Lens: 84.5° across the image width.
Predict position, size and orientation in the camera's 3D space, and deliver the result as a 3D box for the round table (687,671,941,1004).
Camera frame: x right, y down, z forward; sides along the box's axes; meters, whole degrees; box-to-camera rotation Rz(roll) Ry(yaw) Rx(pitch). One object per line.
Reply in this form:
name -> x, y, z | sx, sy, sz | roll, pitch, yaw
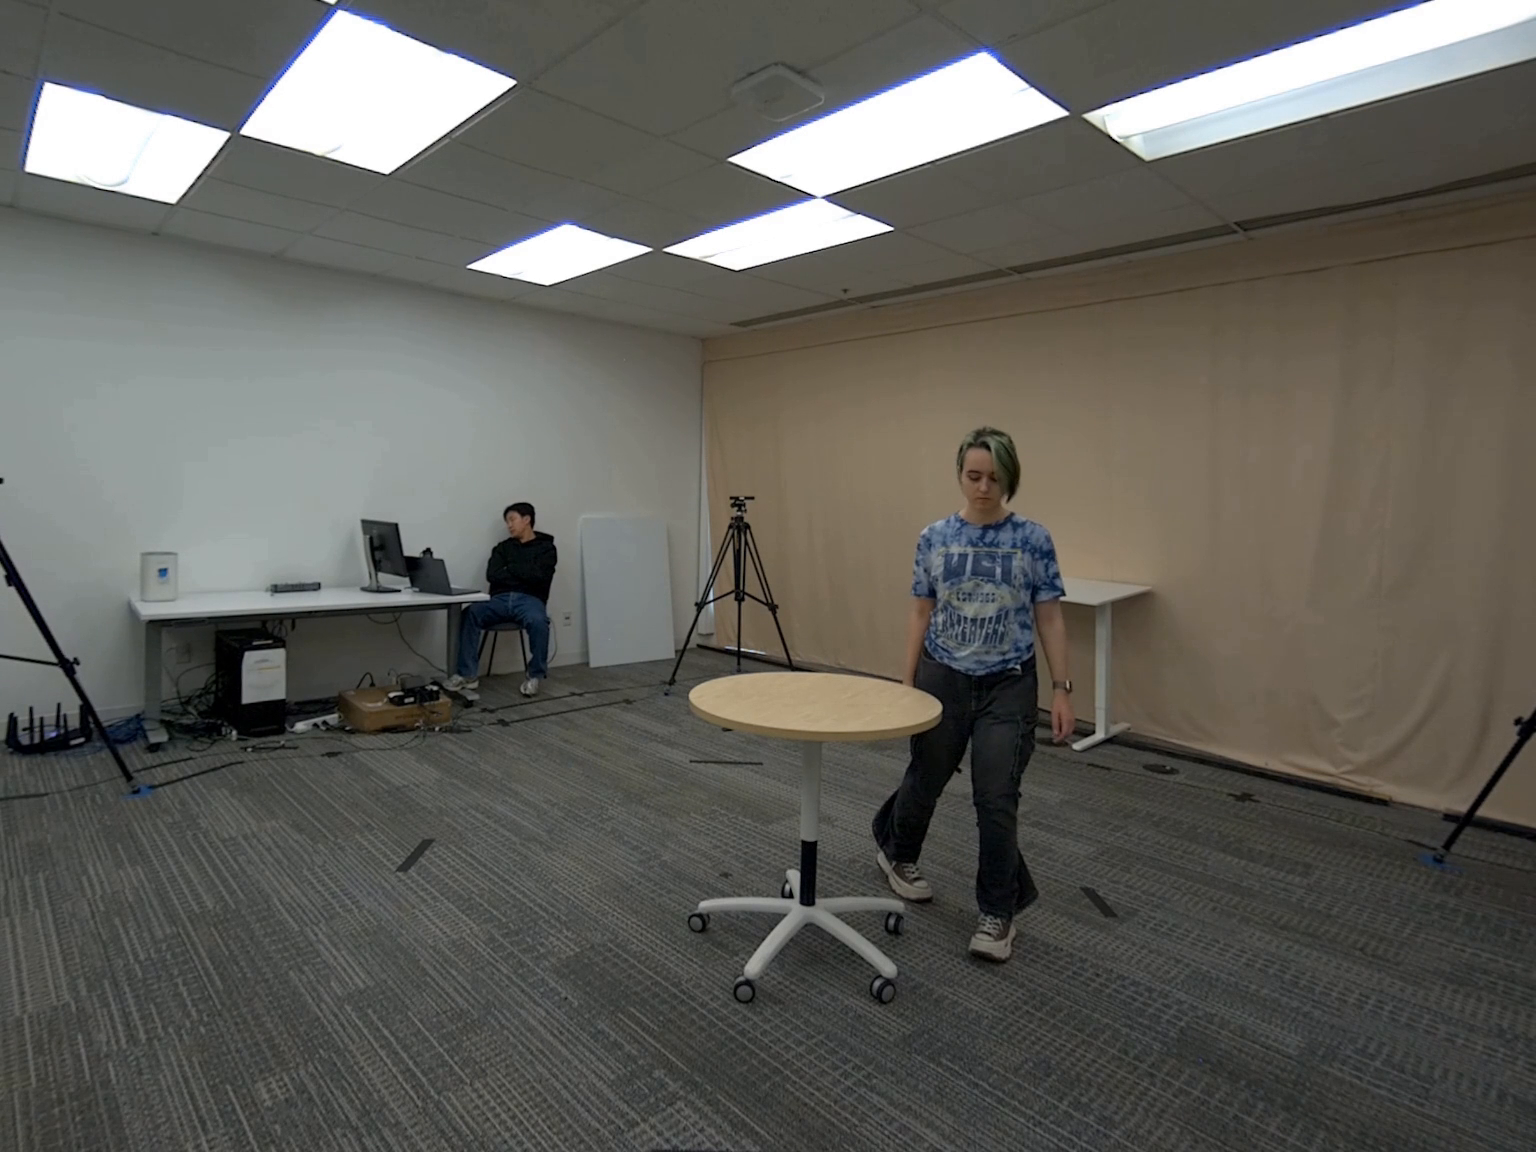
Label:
round table -> 0.123, 0.768, 2.595 | 0.763, 0.791, 0.767 | 1, 4, -1
